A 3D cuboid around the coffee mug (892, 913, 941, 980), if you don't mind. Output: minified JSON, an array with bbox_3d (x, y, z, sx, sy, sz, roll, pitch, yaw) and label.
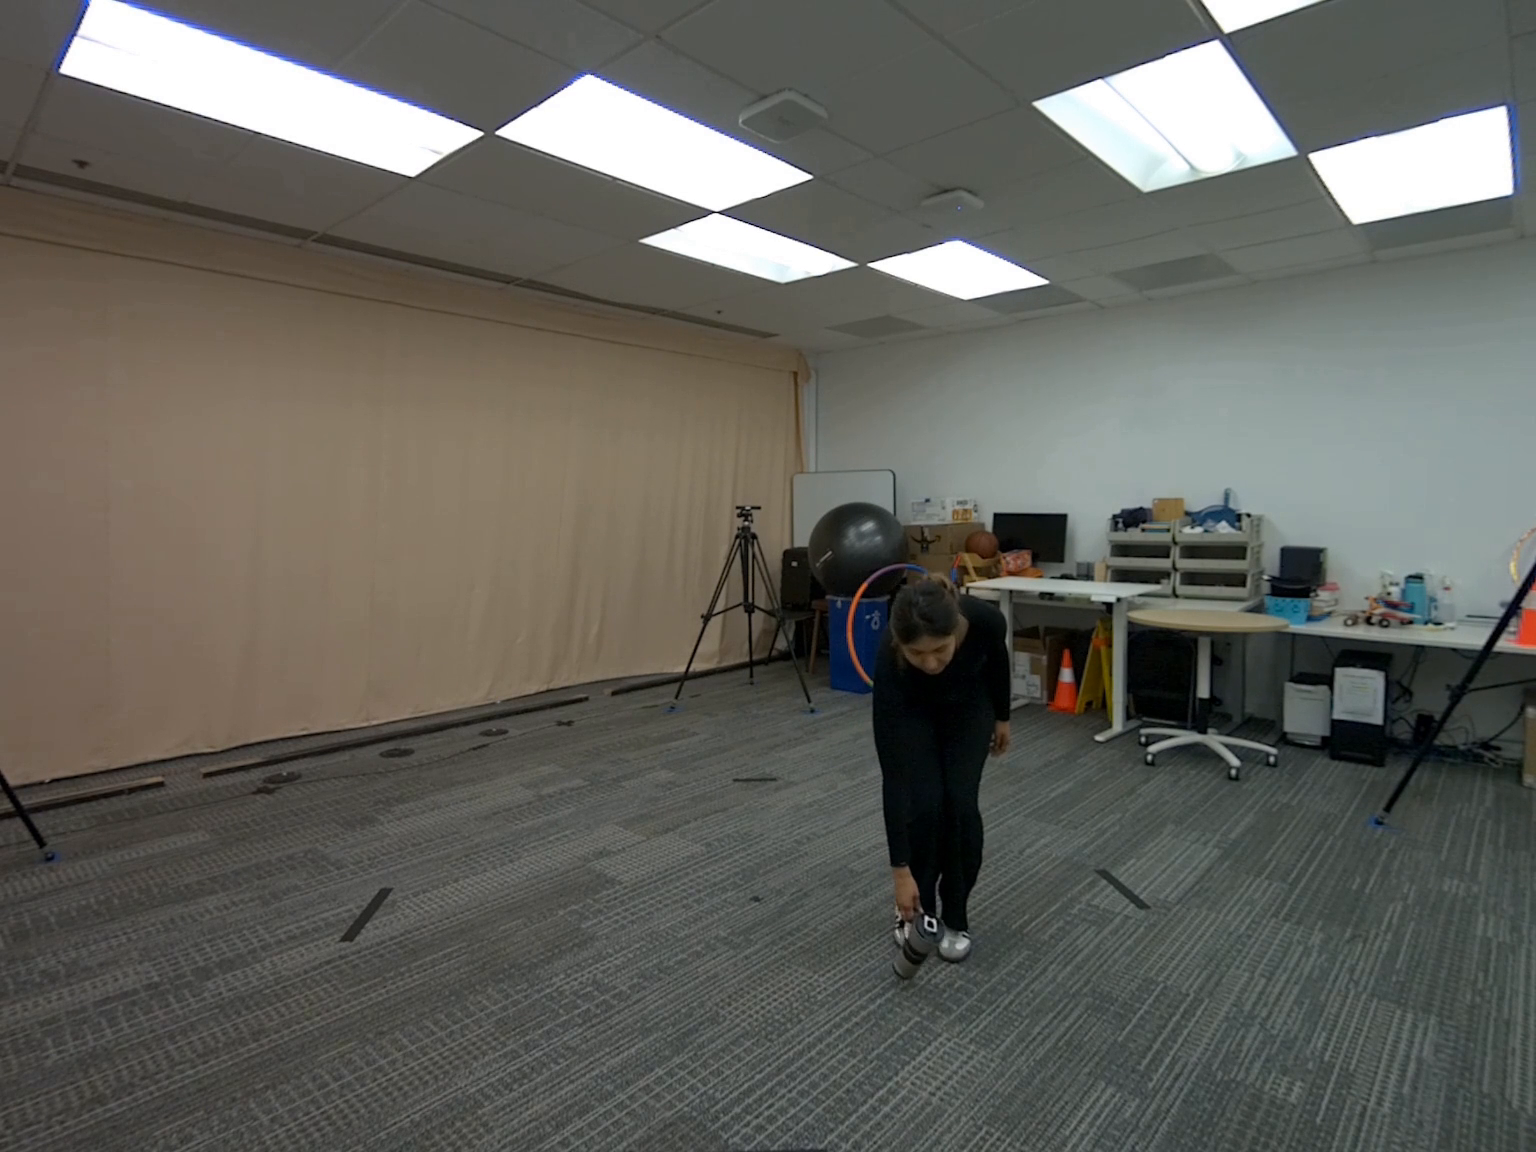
[{"bbox_3d":[0.443,1.057,2.397,0.122,0.201,0.088,14,27,3],"label":"coffee mug"}]
